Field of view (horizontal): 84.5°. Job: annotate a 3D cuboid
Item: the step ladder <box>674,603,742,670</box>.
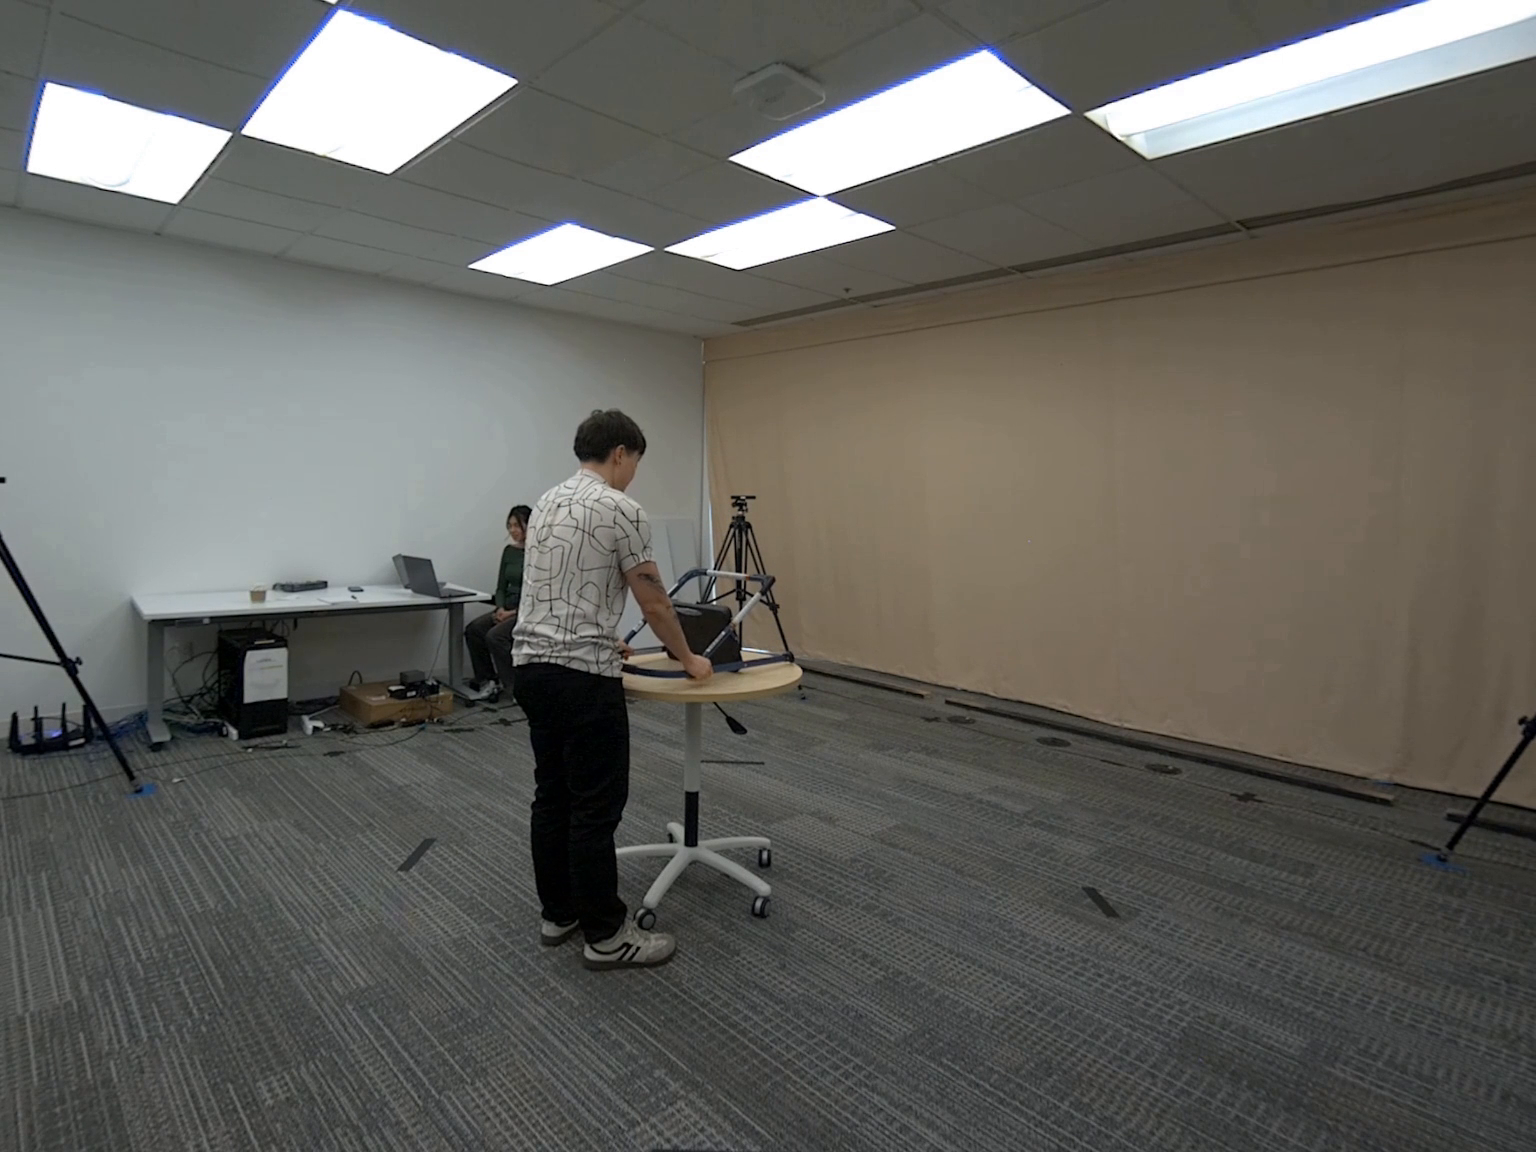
[{"bbox_3d":[-0.282,0.258,2.960,0.441,0.344,0.600,5,25,40],"label":"step ladder"}]
